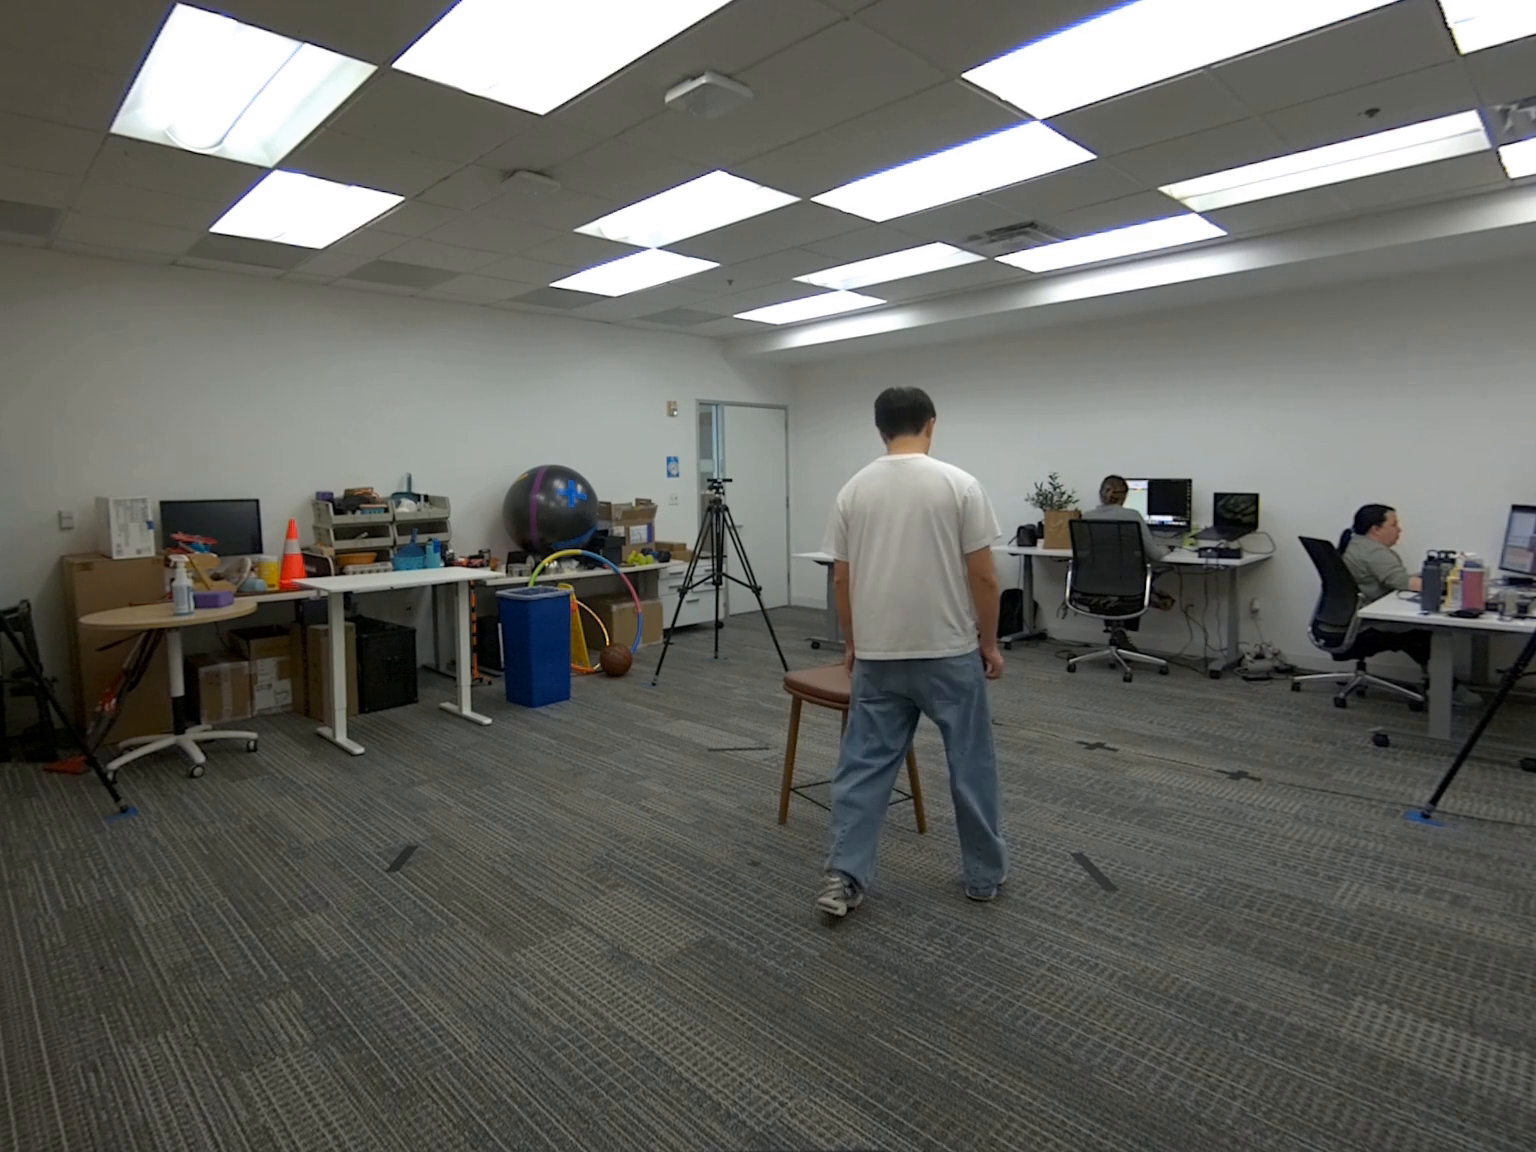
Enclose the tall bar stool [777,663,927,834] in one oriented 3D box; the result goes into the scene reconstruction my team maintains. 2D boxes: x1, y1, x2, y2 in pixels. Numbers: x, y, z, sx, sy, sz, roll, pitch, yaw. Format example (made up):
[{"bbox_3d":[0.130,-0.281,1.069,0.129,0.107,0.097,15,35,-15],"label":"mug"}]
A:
[{"bbox_3d":[0.337,0.572,3.390,0.456,0.887,0.469,-1,4,-32],"label":"tall bar stool"}]
